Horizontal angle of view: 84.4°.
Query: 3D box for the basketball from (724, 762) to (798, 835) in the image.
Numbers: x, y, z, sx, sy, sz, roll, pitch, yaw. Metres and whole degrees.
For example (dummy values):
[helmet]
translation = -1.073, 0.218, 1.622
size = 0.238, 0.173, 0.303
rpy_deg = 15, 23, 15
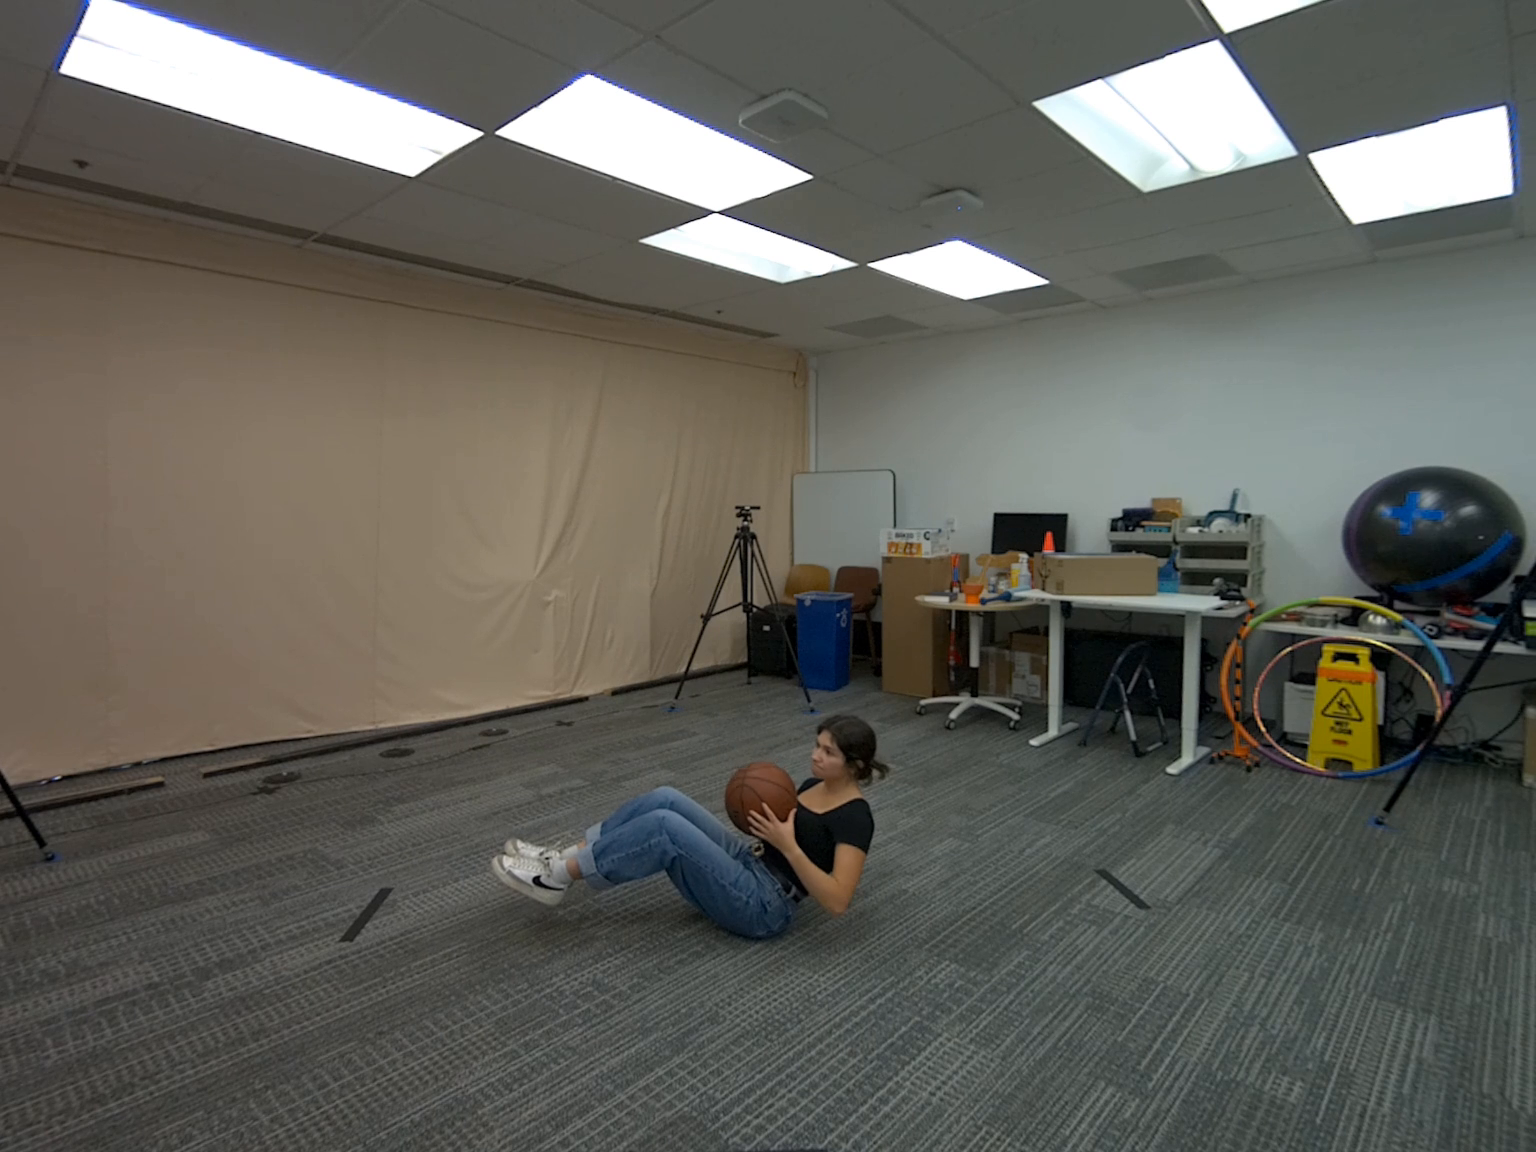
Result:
[basketball]
translation = -0.012, 0.736, 2.741
size = 0.236, 0.235, 0.237
rpy_deg = 0, 4, -2
